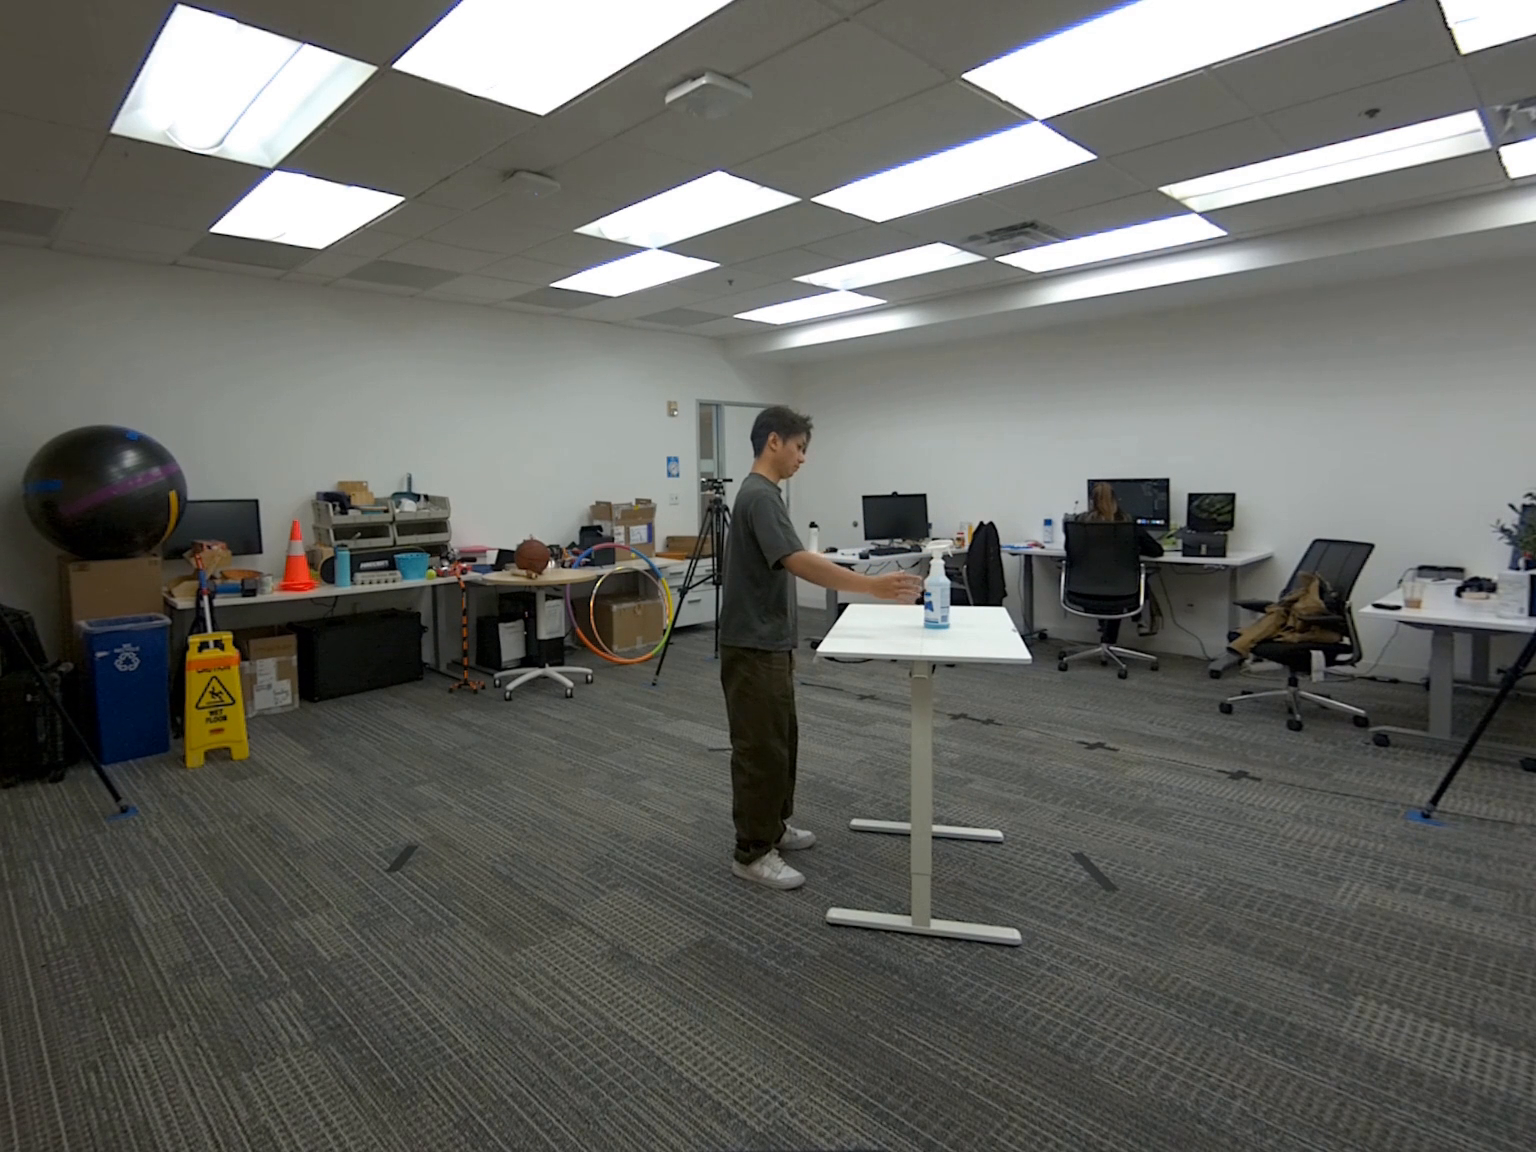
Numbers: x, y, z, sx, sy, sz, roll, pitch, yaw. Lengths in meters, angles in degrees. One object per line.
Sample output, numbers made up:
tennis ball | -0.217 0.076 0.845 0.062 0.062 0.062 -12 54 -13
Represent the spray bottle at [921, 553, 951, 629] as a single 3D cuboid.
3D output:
spray bottle | 0.575 0.028 2.895 0.092 0.297 0.084 1 1 38
